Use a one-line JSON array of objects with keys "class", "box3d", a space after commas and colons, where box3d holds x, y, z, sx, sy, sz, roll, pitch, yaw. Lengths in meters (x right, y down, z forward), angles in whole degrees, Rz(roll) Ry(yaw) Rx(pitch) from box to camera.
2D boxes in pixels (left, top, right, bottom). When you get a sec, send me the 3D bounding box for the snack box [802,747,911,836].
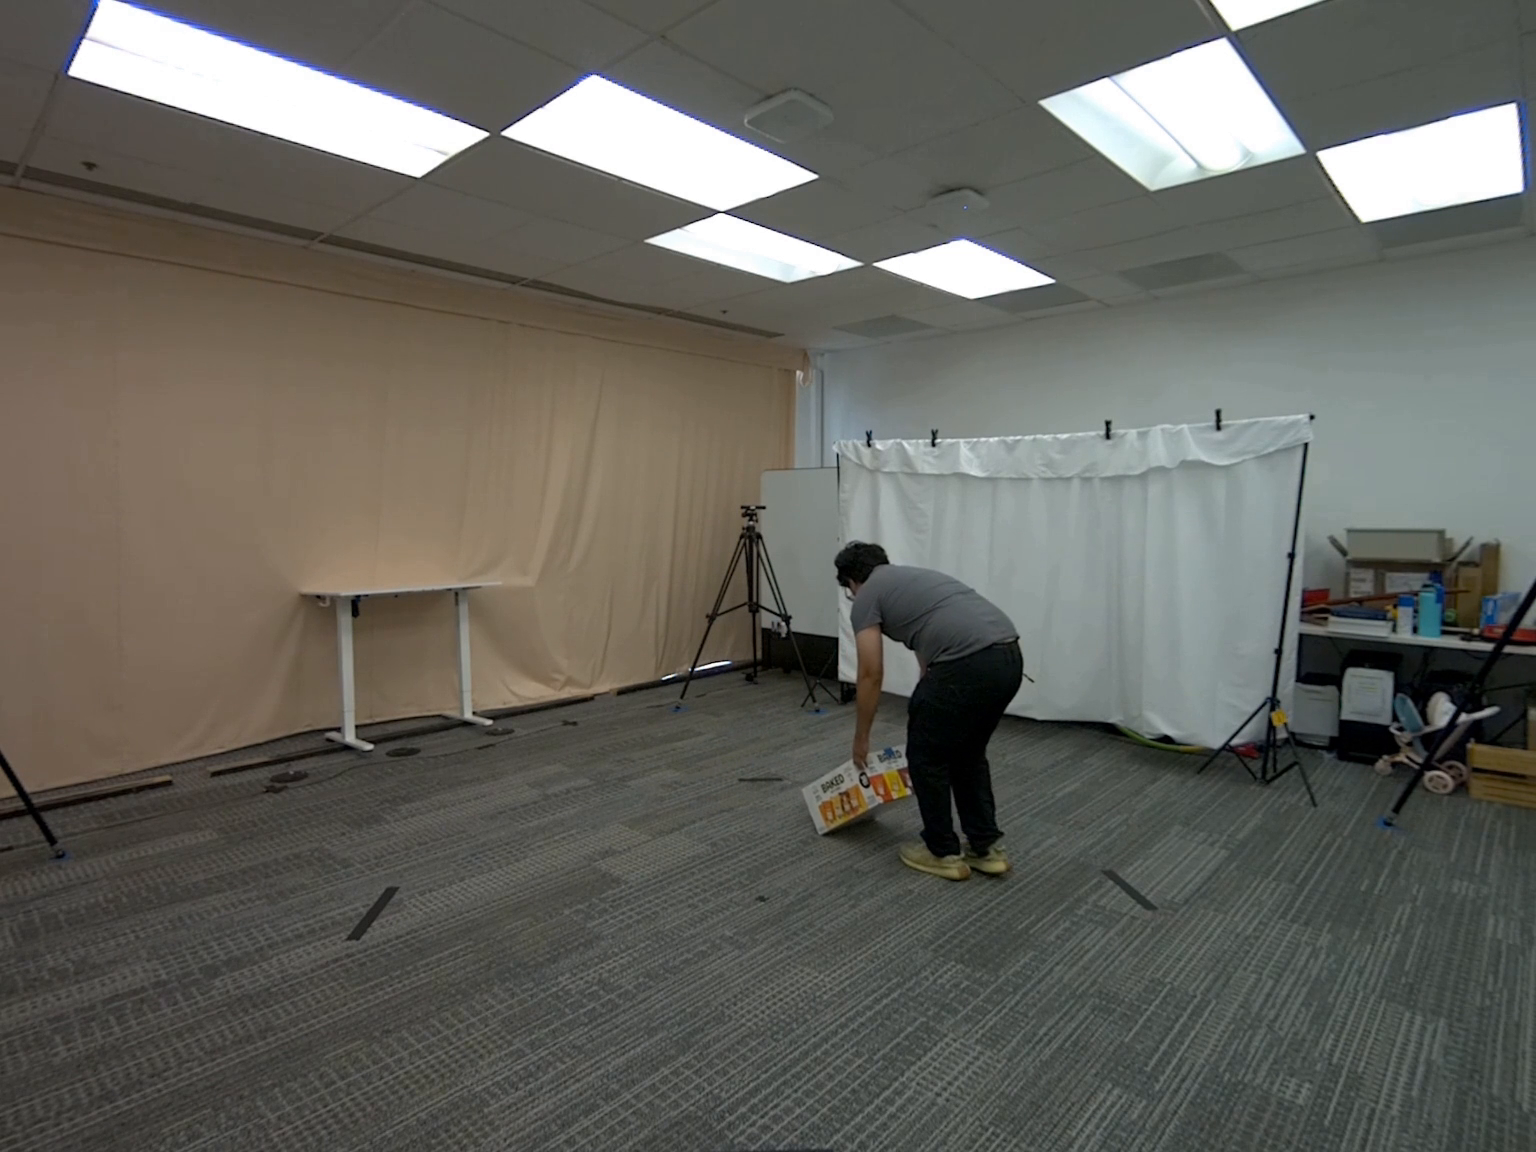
[{"class": "snack box", "box3d": [0.420, 0.900, 3.562, 0.330, 0.210, 0.409, -2, -30, -38]}]
